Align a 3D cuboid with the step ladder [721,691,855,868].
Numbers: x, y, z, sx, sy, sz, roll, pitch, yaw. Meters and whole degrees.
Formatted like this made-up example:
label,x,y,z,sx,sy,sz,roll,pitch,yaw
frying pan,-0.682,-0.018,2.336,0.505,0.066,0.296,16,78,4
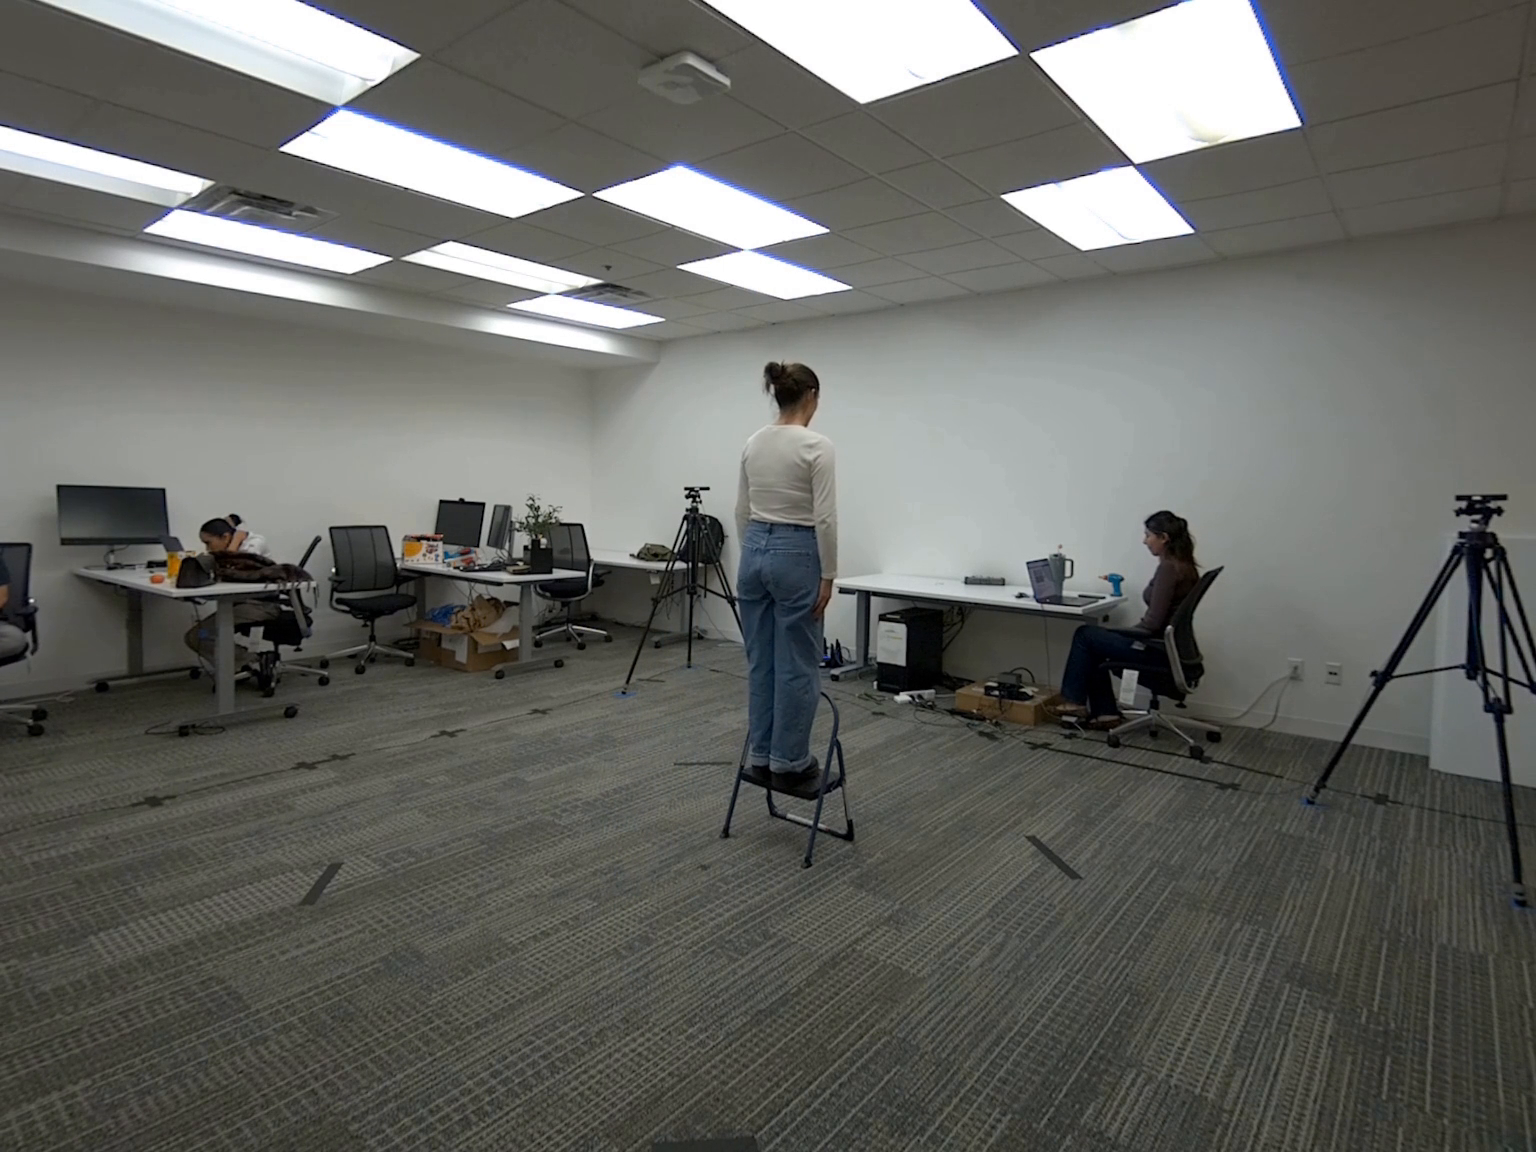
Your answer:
label,x,y,z,sx,sy,sz,roll,pitch,yaw
step ladder,0.079,0.740,3.375,0.445,0.604,0.339,4,4,38
